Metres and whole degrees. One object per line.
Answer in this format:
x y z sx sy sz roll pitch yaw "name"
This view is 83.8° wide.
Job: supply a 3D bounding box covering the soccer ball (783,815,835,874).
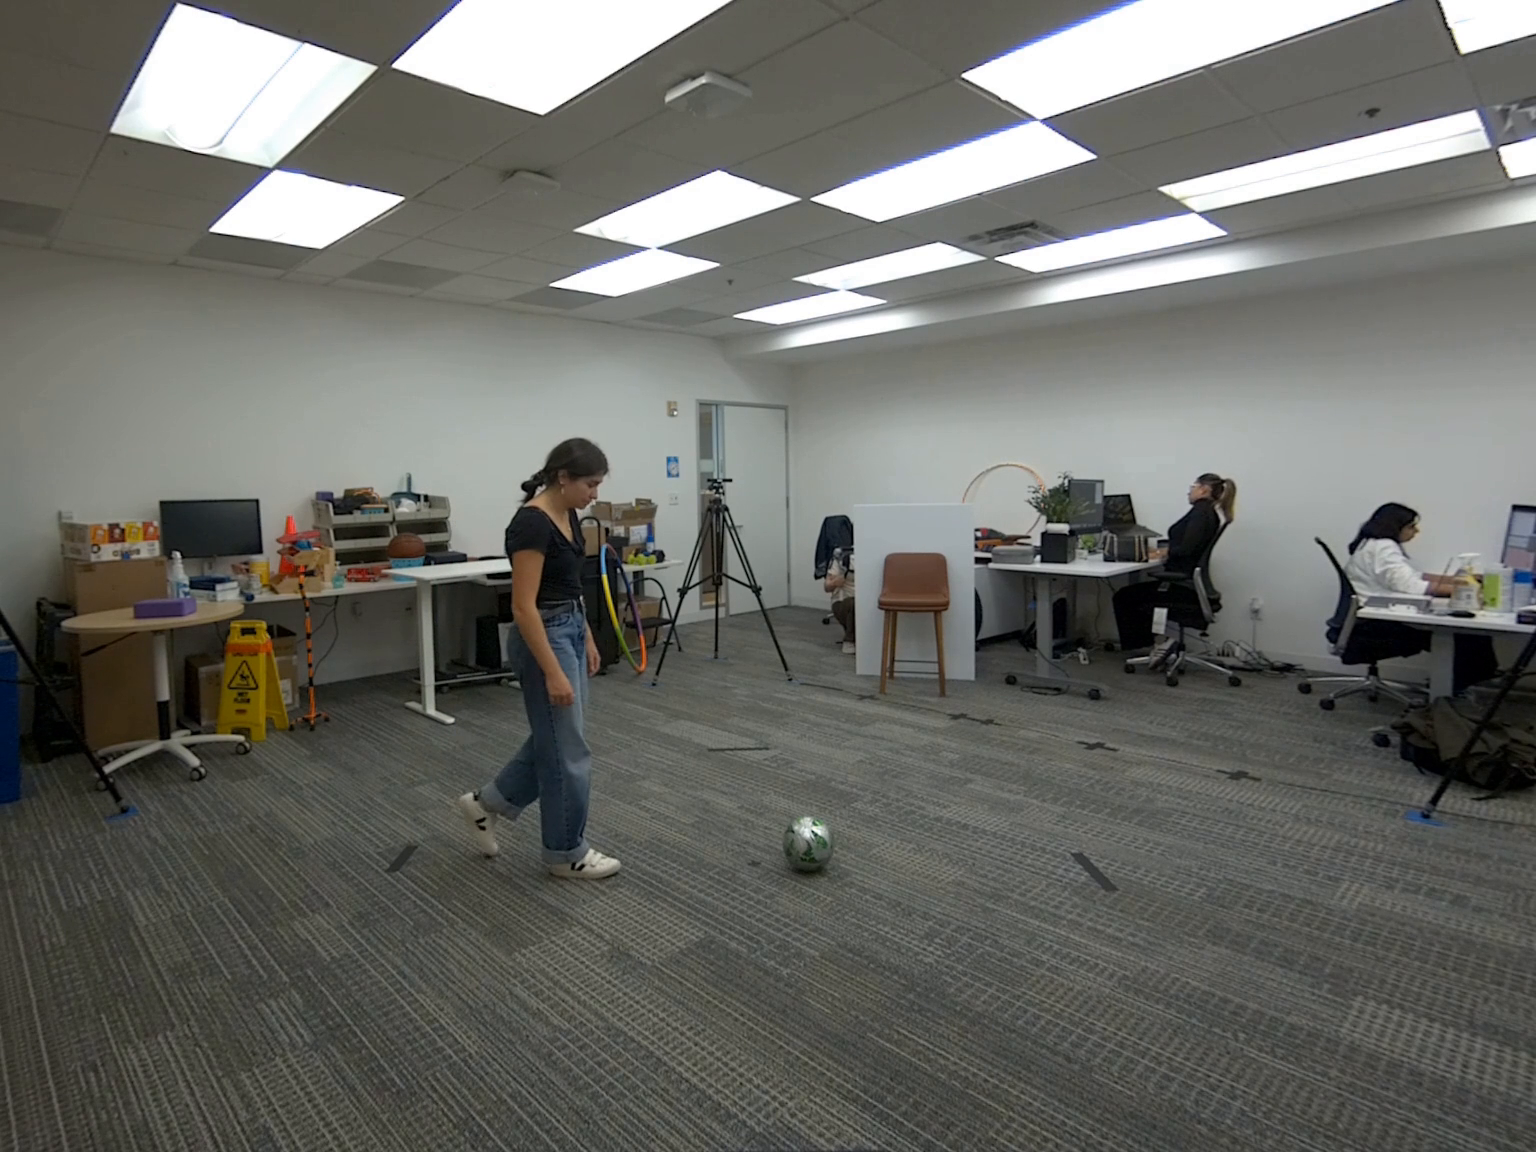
0.143 0.951 3.046 0.187 0.187 0.188 -1 5 -2 "soccer ball"
